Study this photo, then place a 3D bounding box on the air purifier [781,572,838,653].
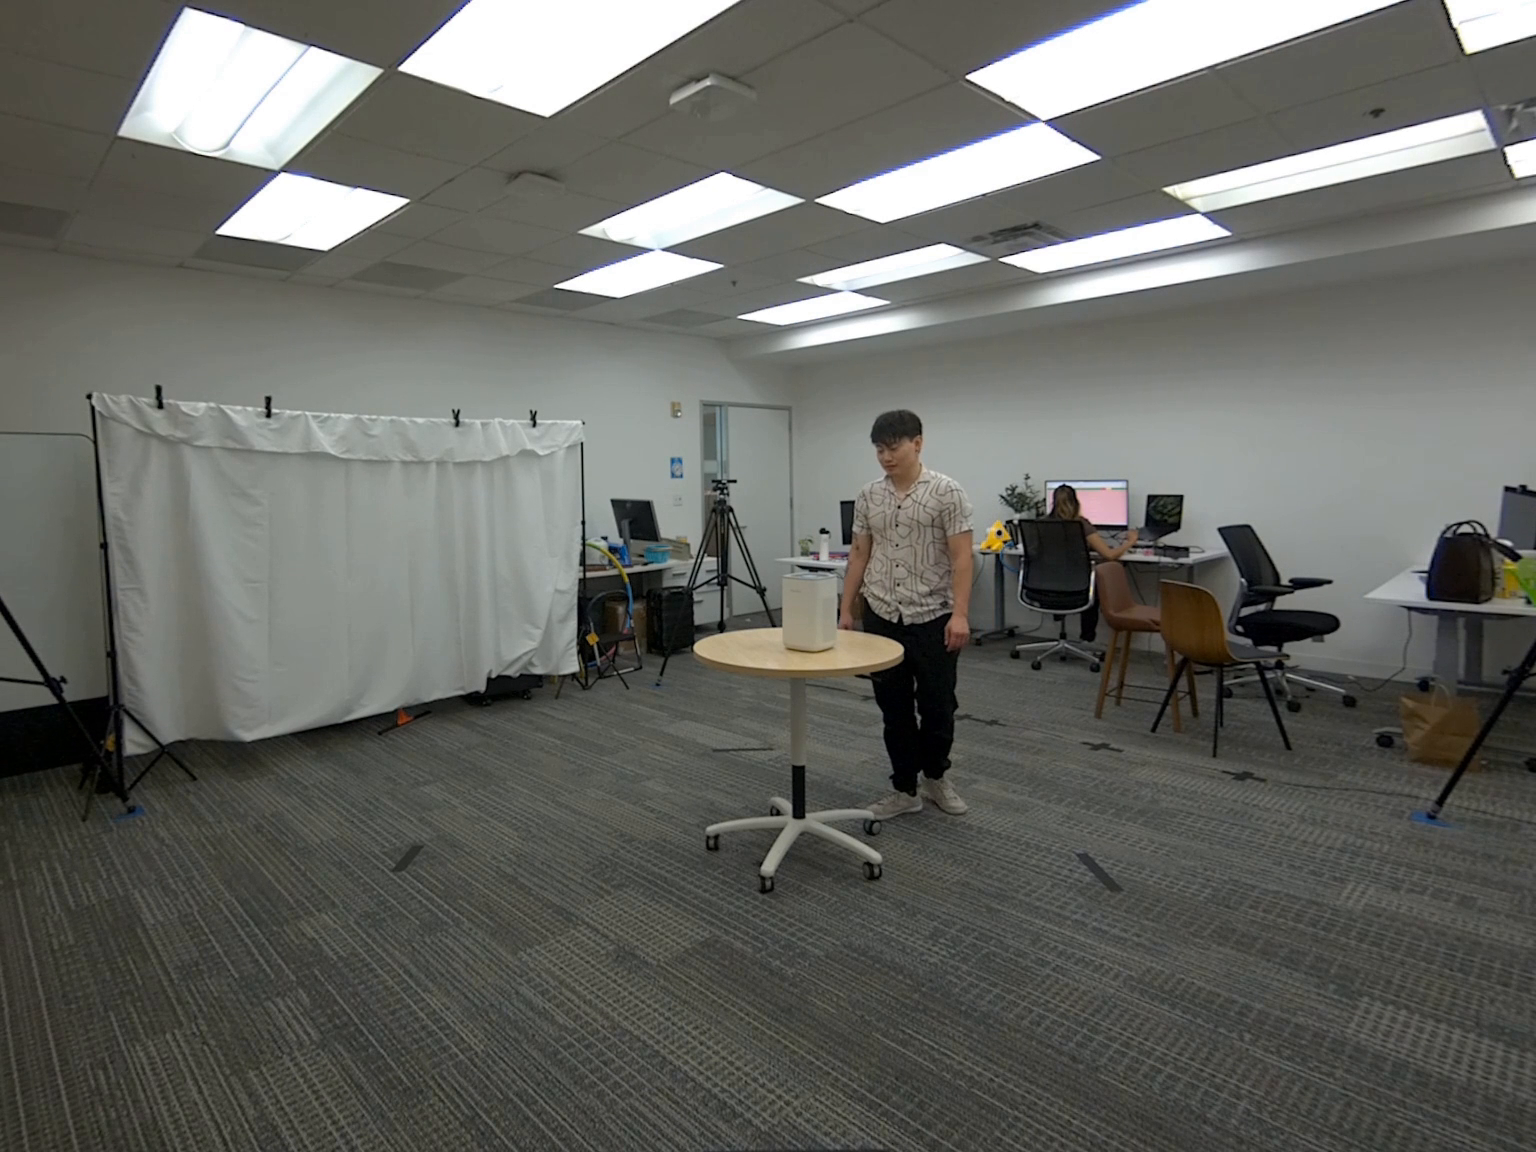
[{"bbox_3d":[0.151,0.130,3.094,0.176,0.264,0.167,2,5,36],"label":"air purifier"}]
